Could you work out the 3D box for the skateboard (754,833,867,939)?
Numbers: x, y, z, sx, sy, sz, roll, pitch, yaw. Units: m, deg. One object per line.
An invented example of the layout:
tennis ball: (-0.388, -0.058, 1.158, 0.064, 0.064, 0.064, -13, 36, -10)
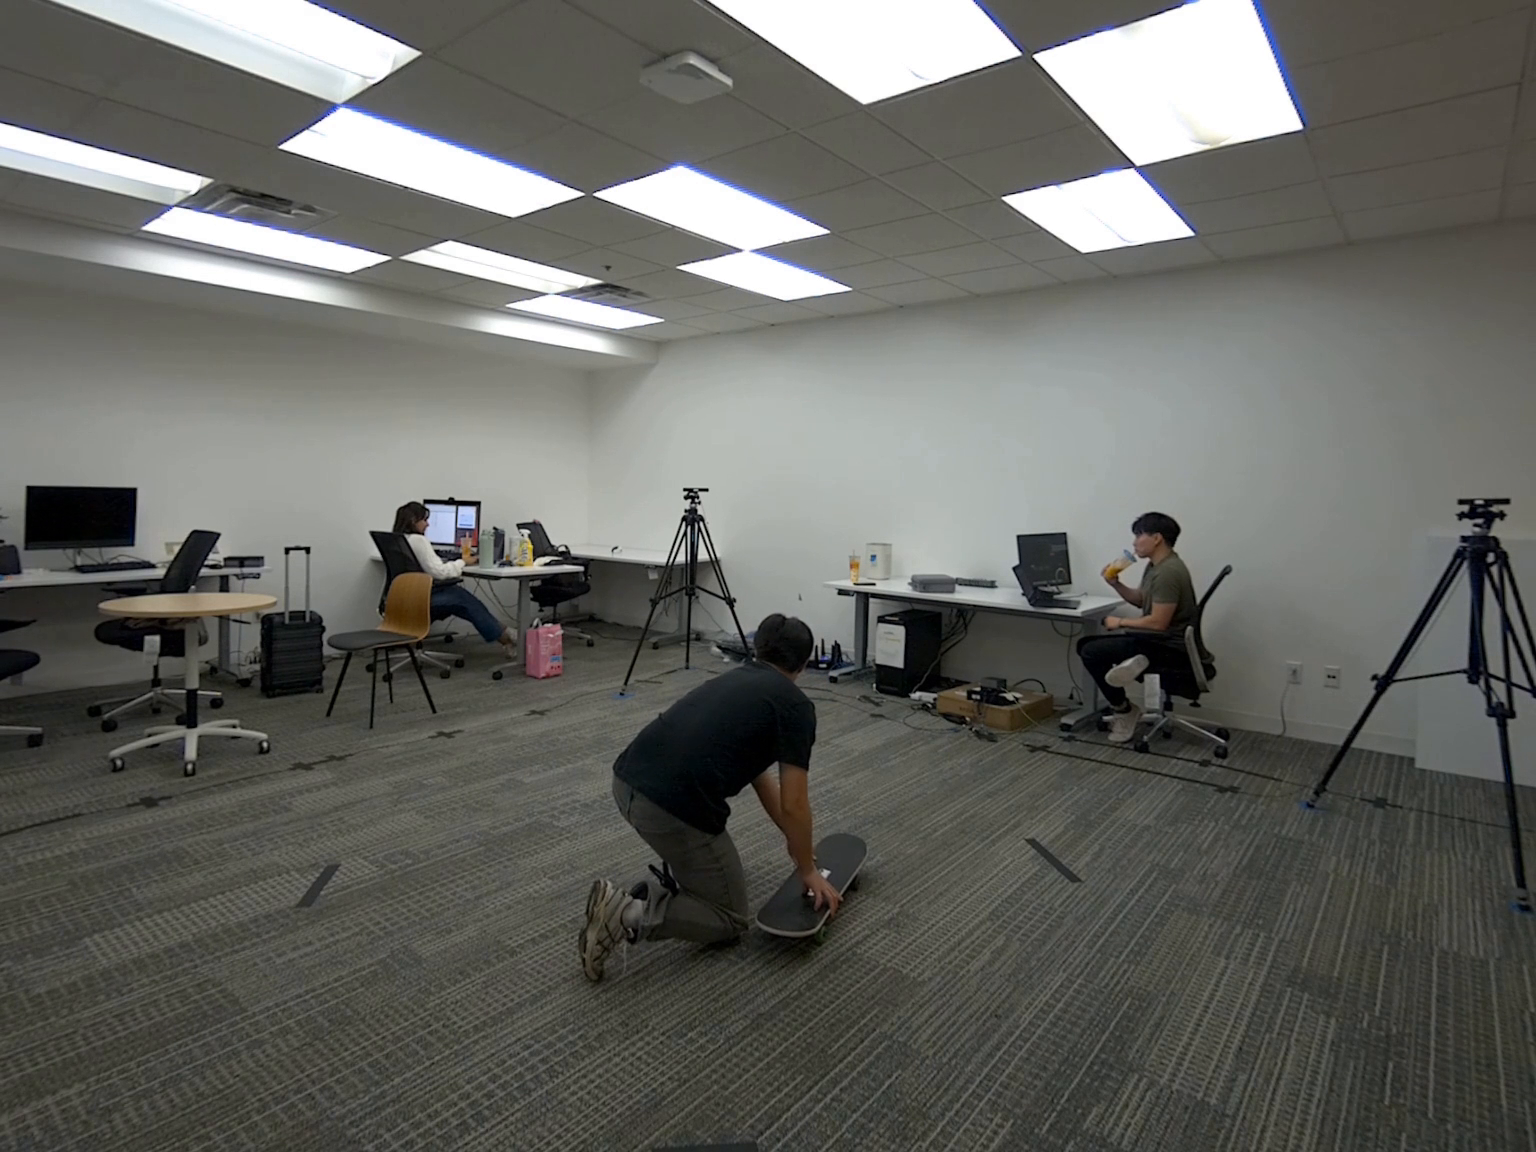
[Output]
skateboard: (0.154, 1.046, 2.836, 0.198, 0.110, 0.770, 4, 6, 22)
